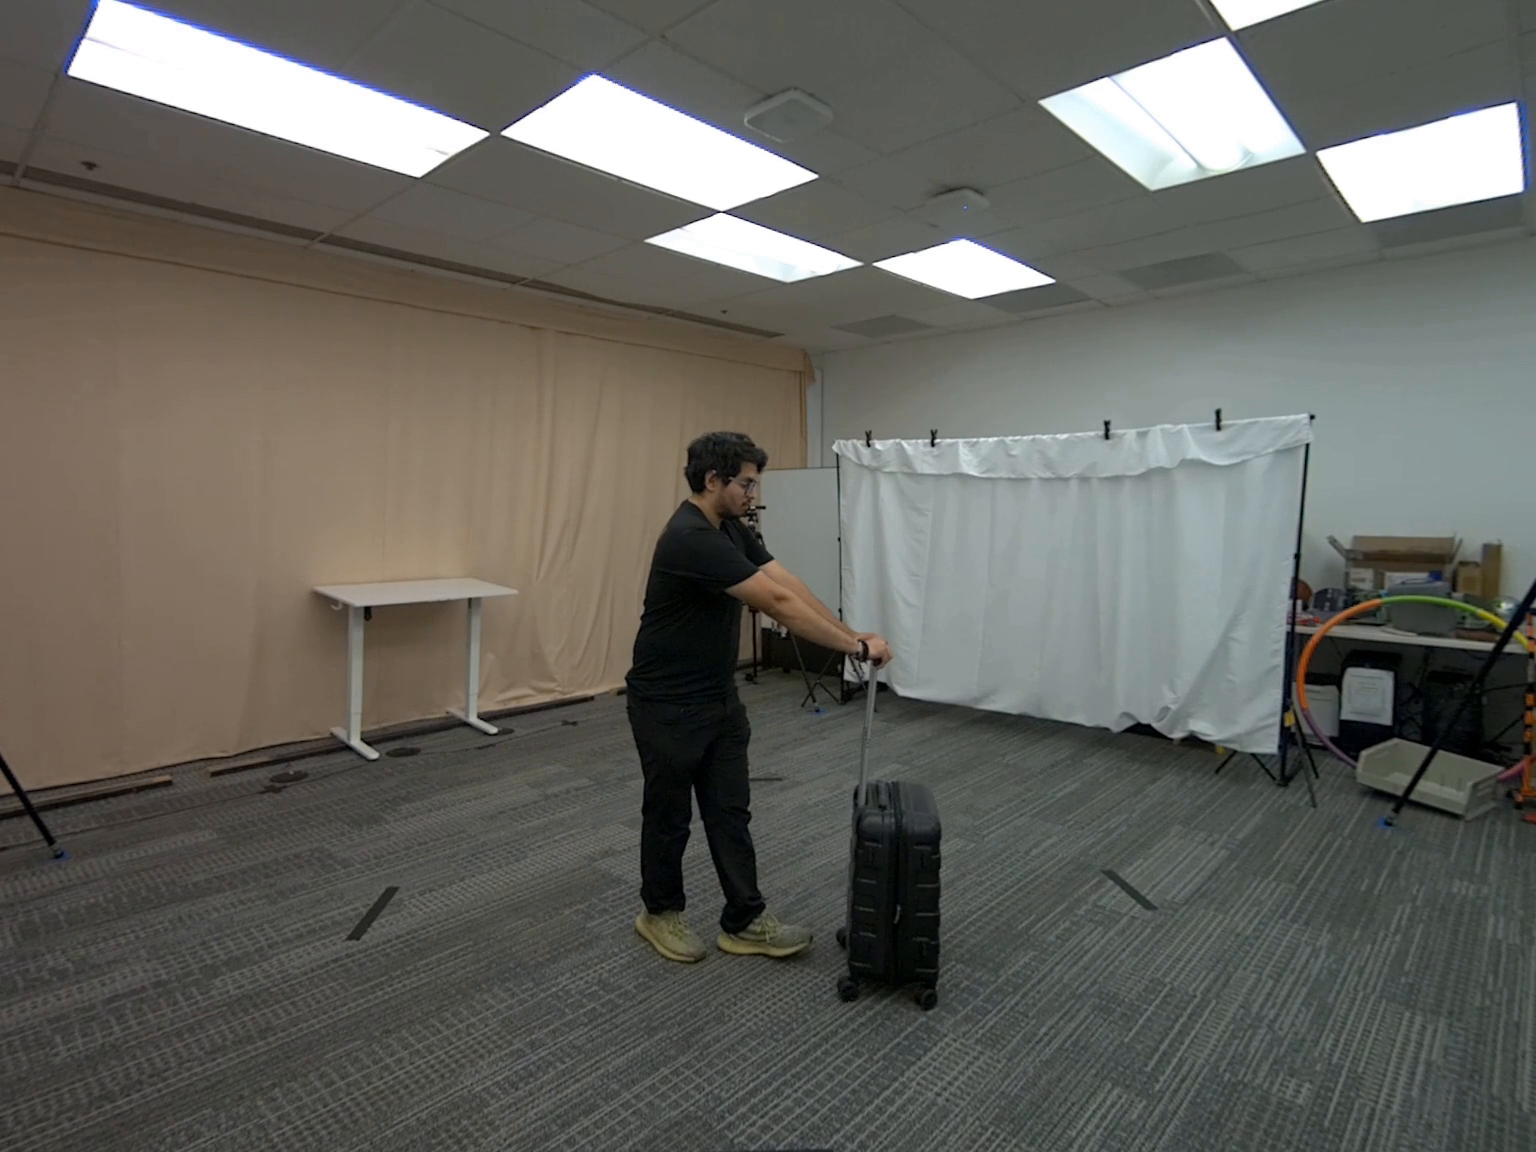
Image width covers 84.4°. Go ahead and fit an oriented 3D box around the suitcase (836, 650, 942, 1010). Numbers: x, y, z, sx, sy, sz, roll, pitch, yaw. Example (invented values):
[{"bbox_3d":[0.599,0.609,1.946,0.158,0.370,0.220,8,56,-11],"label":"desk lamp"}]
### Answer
[{"bbox_3d":[0.391,0.716,2.481,0.259,0.977,0.382,5,3,5],"label":"suitcase"}]
